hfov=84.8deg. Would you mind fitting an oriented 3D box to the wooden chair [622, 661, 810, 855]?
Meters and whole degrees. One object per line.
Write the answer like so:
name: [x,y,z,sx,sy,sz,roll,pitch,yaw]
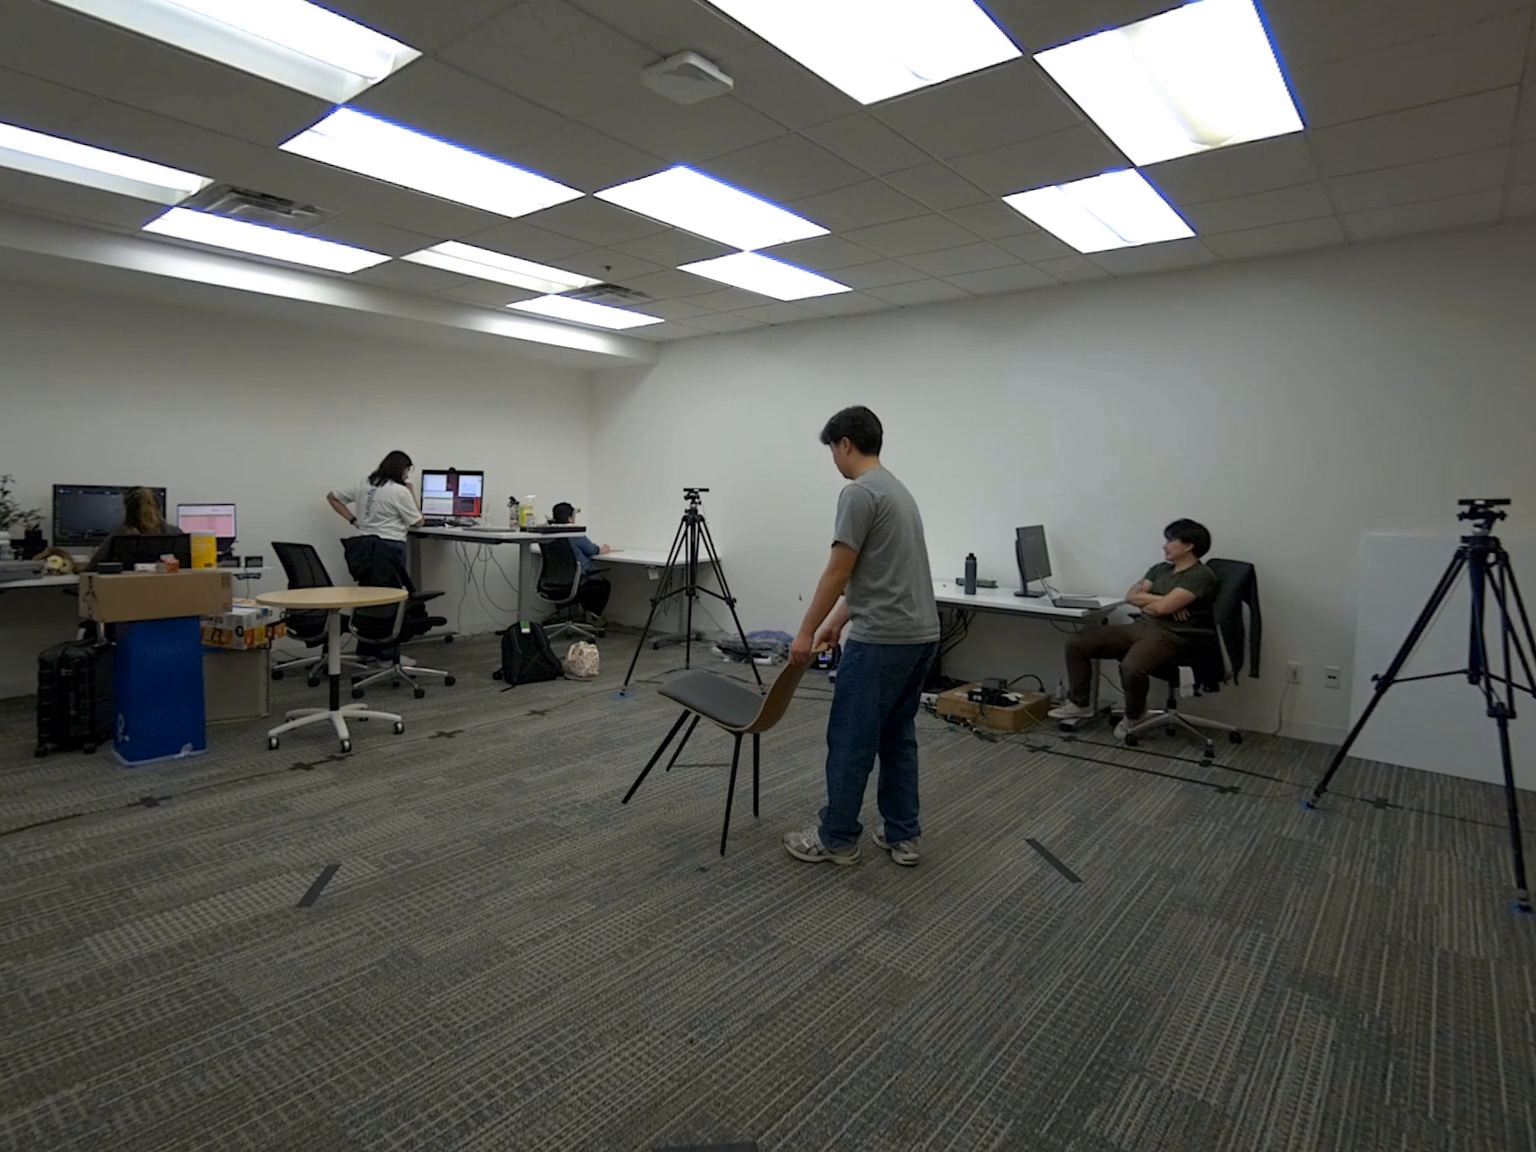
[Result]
wooden chair: [-0.193,0.561,3.431,0.535,0.873,0.470,26,11,15]
